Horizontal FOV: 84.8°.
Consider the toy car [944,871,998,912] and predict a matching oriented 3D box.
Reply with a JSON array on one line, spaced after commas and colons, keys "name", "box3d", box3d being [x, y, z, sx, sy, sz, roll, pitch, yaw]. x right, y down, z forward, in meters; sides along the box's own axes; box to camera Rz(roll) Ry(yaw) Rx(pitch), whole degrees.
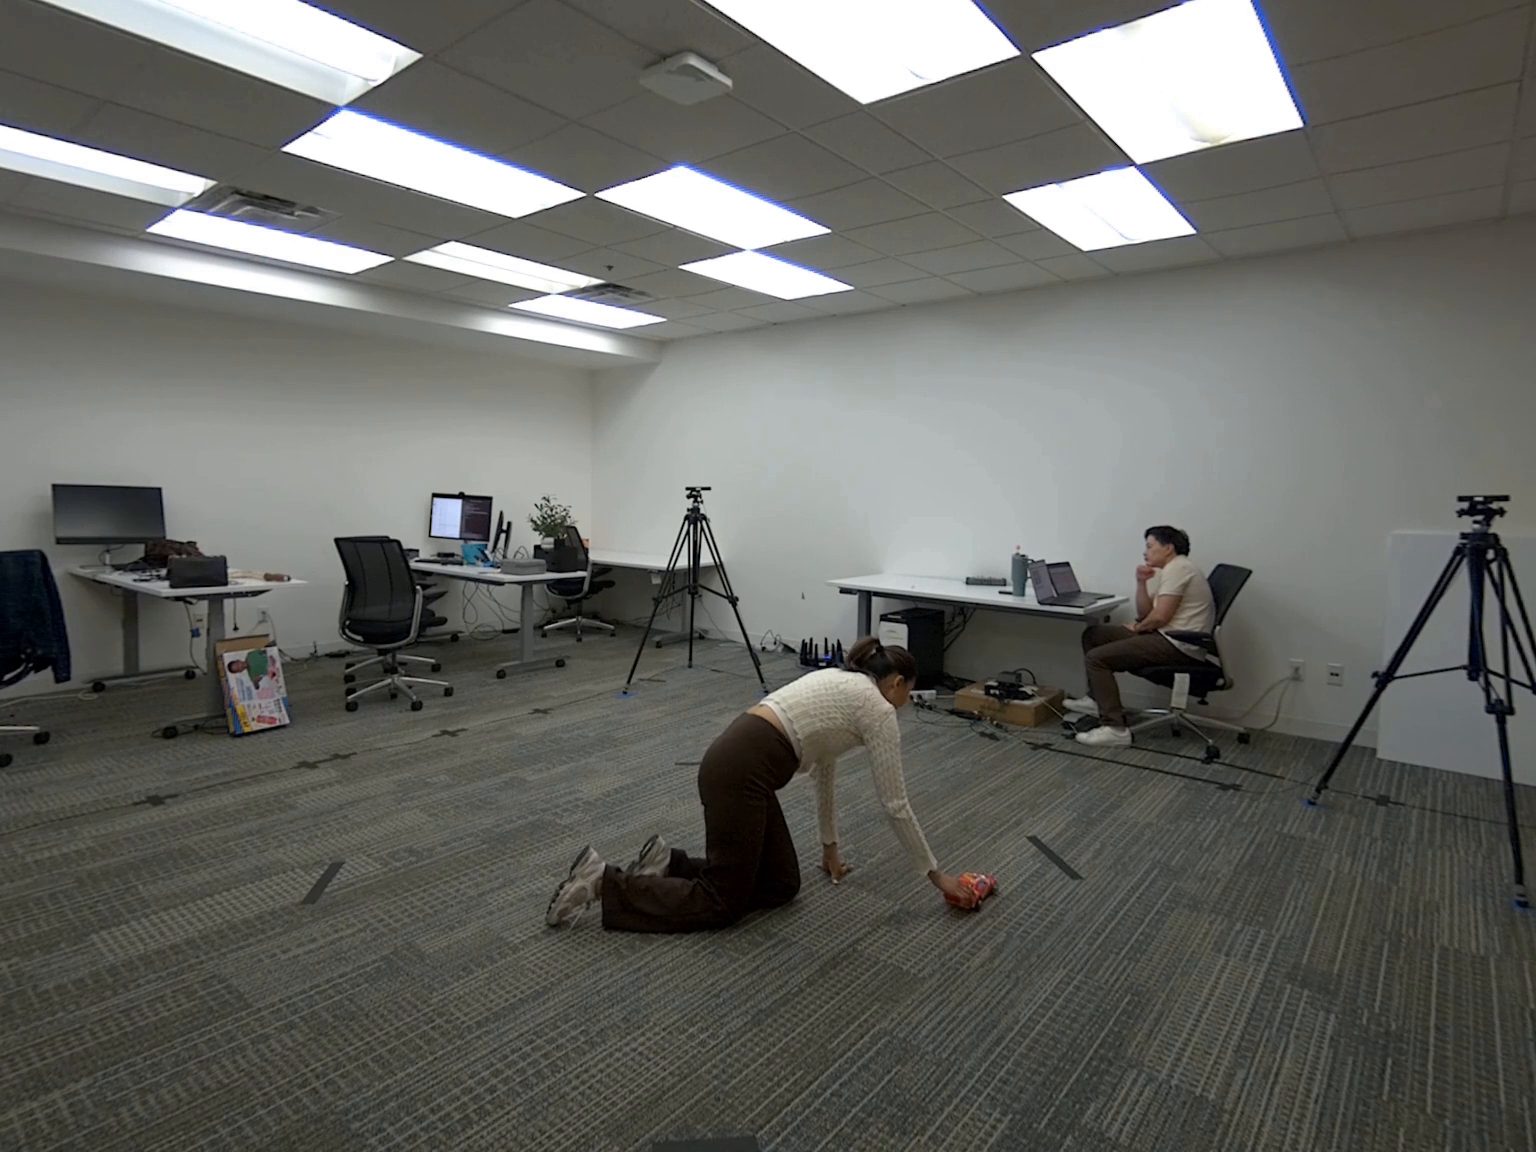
[{"name": "toy car", "box3d": [0.686, 1.076, 2.909, 0.135, 0.083, 0.245, 7, -3, 38]}]
